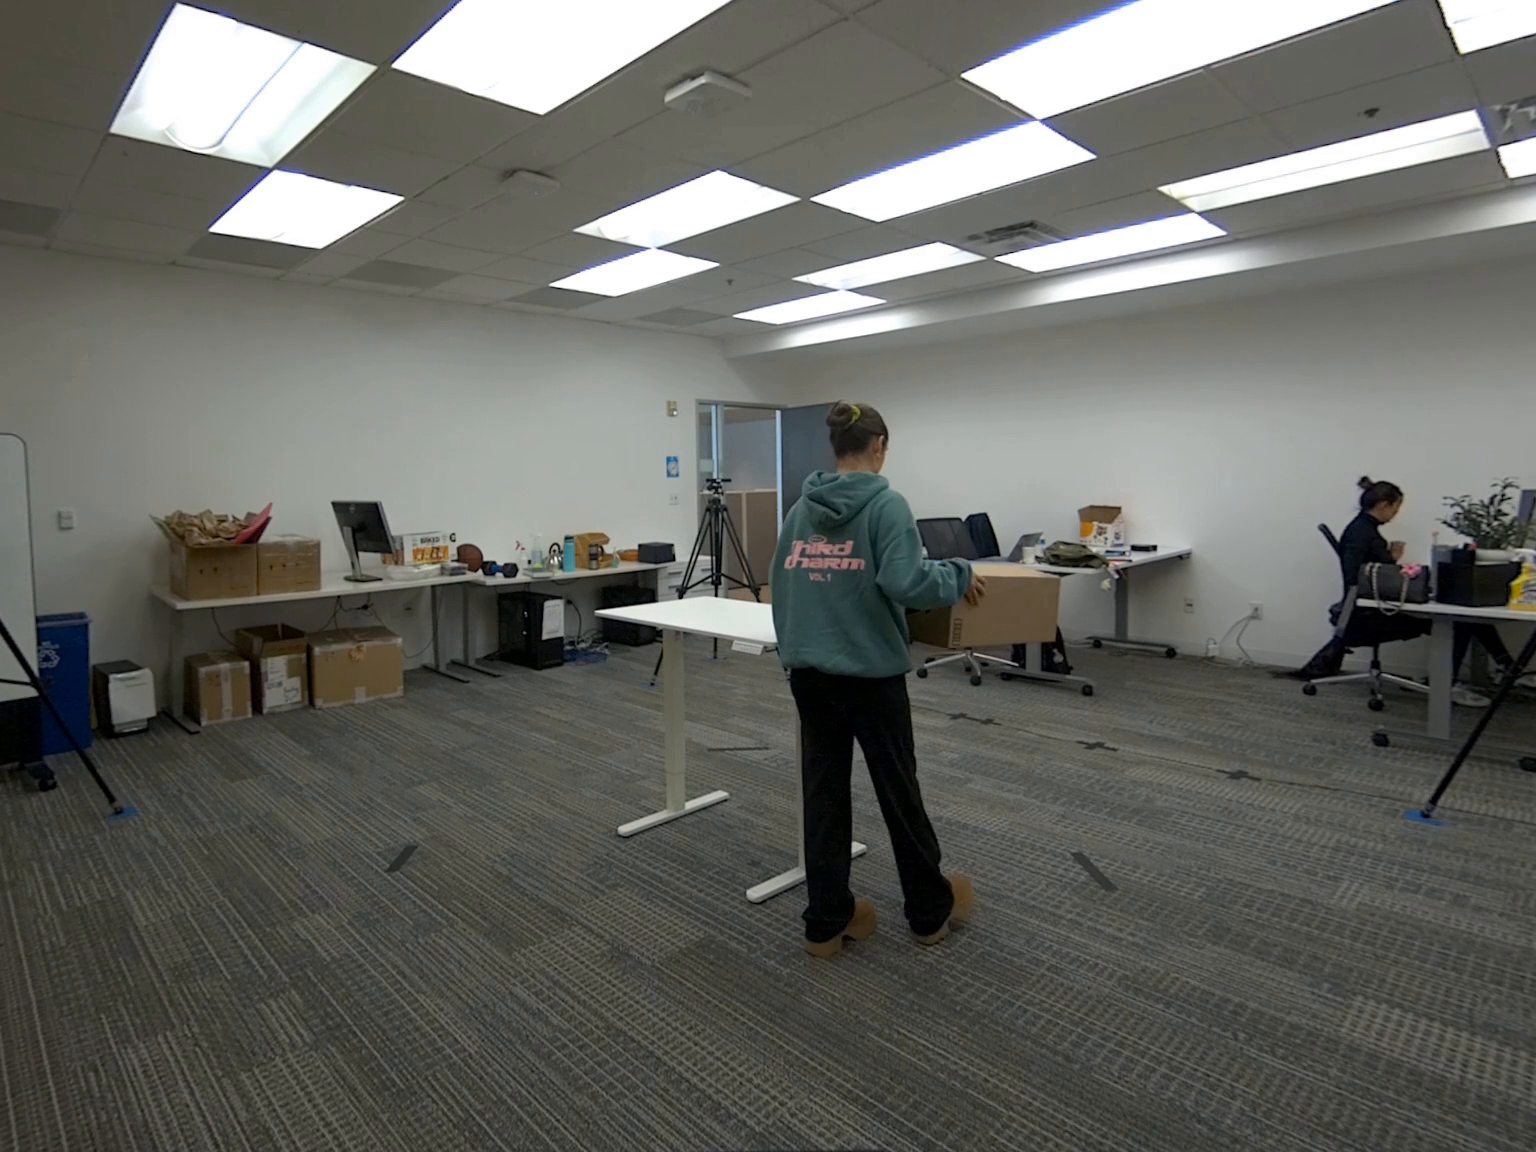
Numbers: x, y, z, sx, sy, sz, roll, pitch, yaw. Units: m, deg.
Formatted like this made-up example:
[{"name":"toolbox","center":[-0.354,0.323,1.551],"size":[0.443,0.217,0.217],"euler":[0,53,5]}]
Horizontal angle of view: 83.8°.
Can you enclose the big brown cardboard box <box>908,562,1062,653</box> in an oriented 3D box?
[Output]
[{"name":"big brown cardboard box","center":[0.626,0.079,2.790],"size":[0.572,0.232,0.431],"euler":[0,6,-37]}]
